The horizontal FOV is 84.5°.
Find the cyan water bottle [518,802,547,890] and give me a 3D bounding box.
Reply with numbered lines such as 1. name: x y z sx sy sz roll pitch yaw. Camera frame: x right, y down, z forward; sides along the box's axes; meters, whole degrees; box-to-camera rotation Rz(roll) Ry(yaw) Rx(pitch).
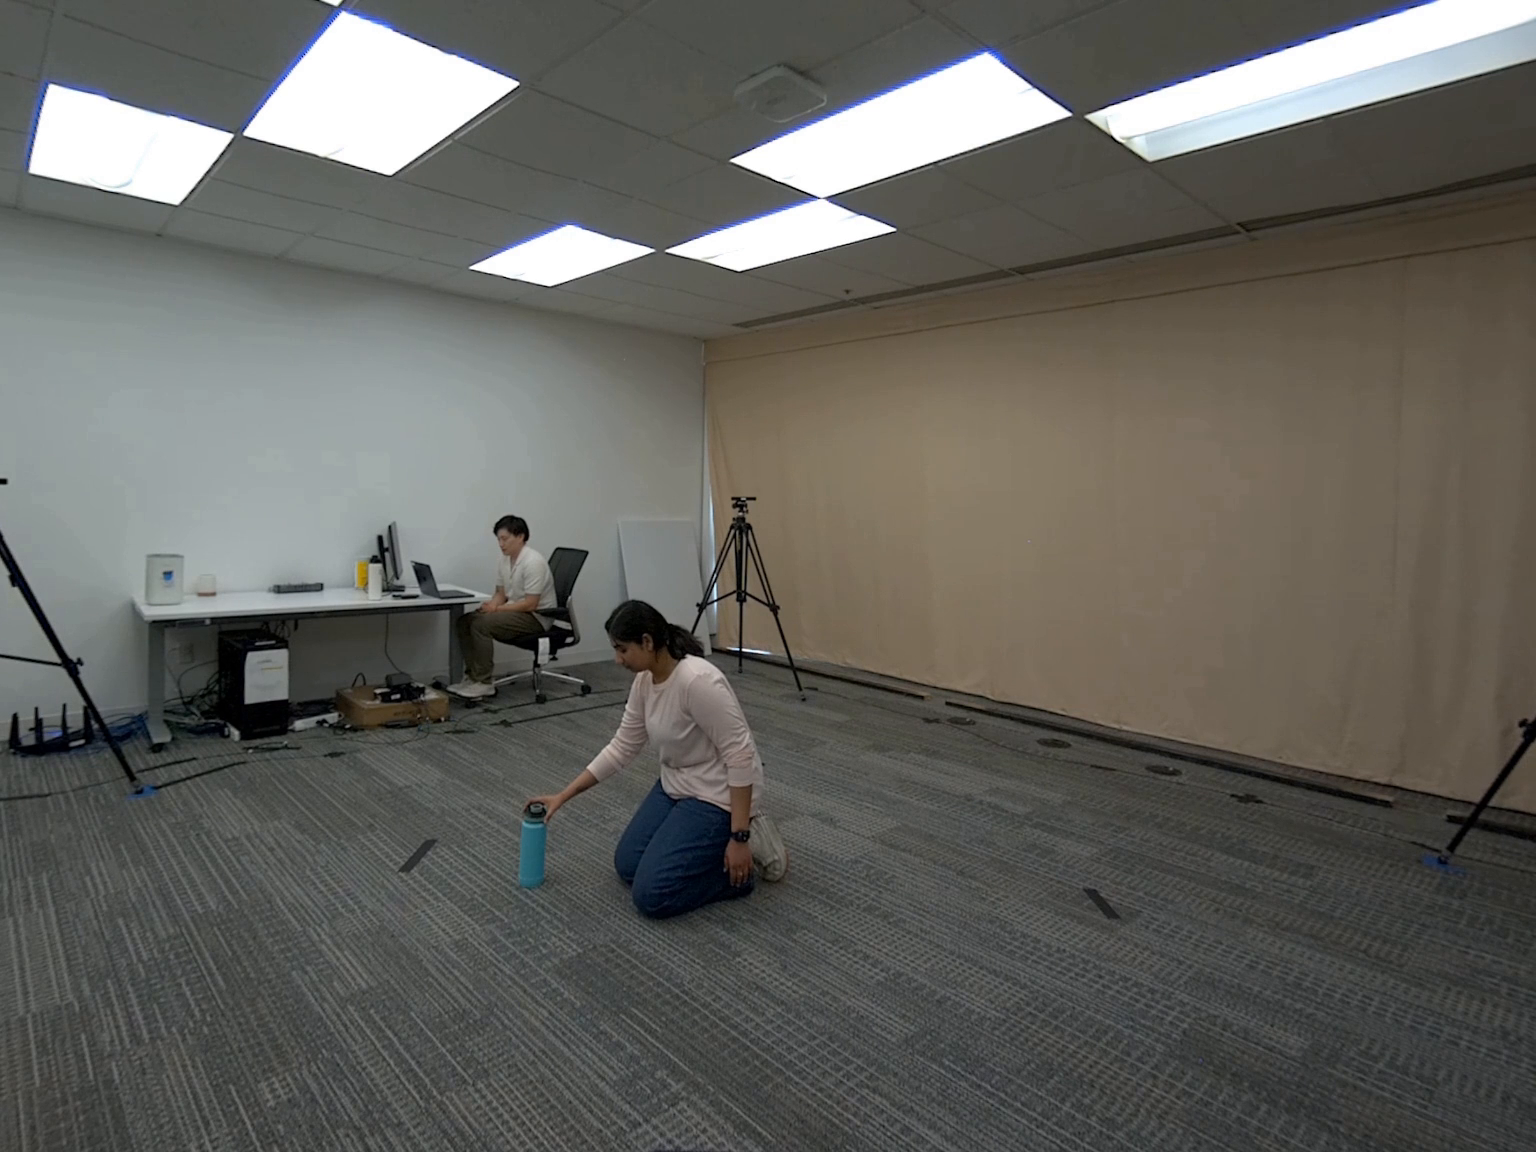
1. cyan water bottle: -0.840 0.950 3.011 0.092 0.283 0.092 5 4 -2
